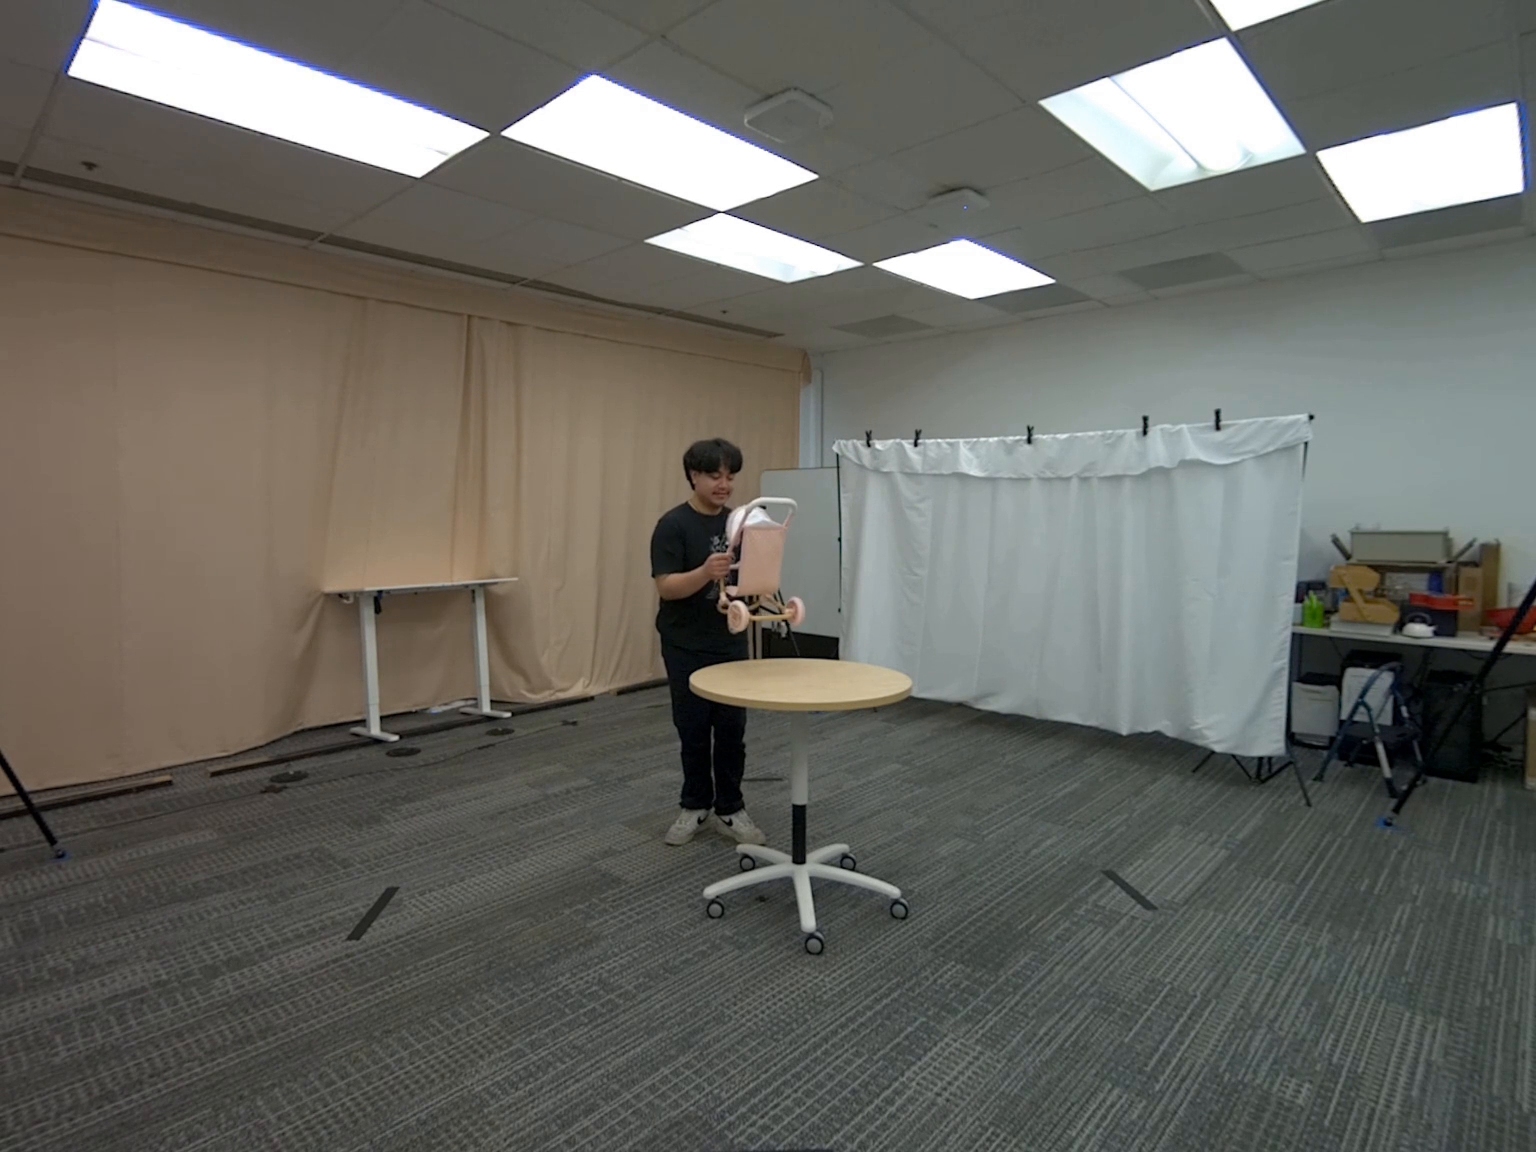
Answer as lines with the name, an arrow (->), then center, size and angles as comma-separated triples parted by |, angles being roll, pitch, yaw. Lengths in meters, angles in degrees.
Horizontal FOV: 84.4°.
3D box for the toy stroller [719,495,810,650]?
toy stroller -> -0.063, -0.030, 3.156 | 0.274, 0.533, 0.351 | -1, 5, -26
